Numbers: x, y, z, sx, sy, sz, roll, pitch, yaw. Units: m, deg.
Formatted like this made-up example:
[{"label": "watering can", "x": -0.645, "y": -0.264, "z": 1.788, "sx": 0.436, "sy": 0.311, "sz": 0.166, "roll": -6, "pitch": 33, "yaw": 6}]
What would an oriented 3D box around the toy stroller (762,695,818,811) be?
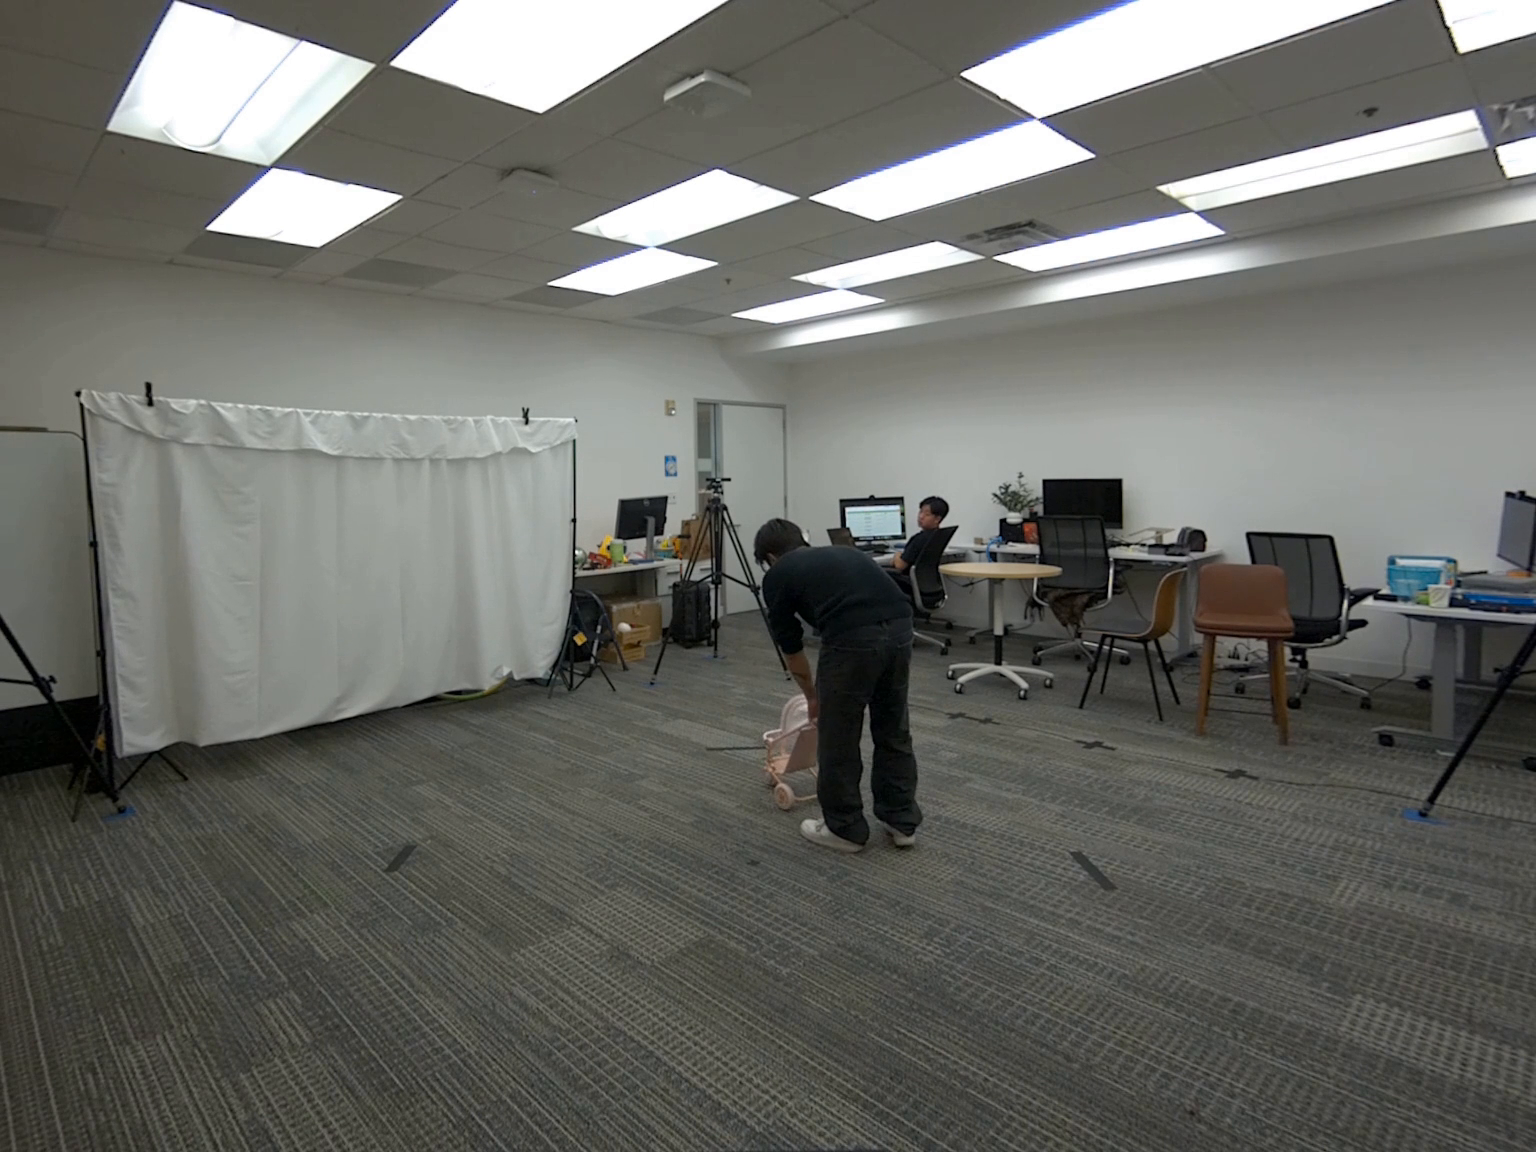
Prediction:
[{"label": "toy stroller", "x": 0.134, "y": 0.746, "z": 3.709, "sx": 0.274, "sy": 0.528, "sz": 0.354, "roll": -3, "pitch": 22, "yaw": -31}]
